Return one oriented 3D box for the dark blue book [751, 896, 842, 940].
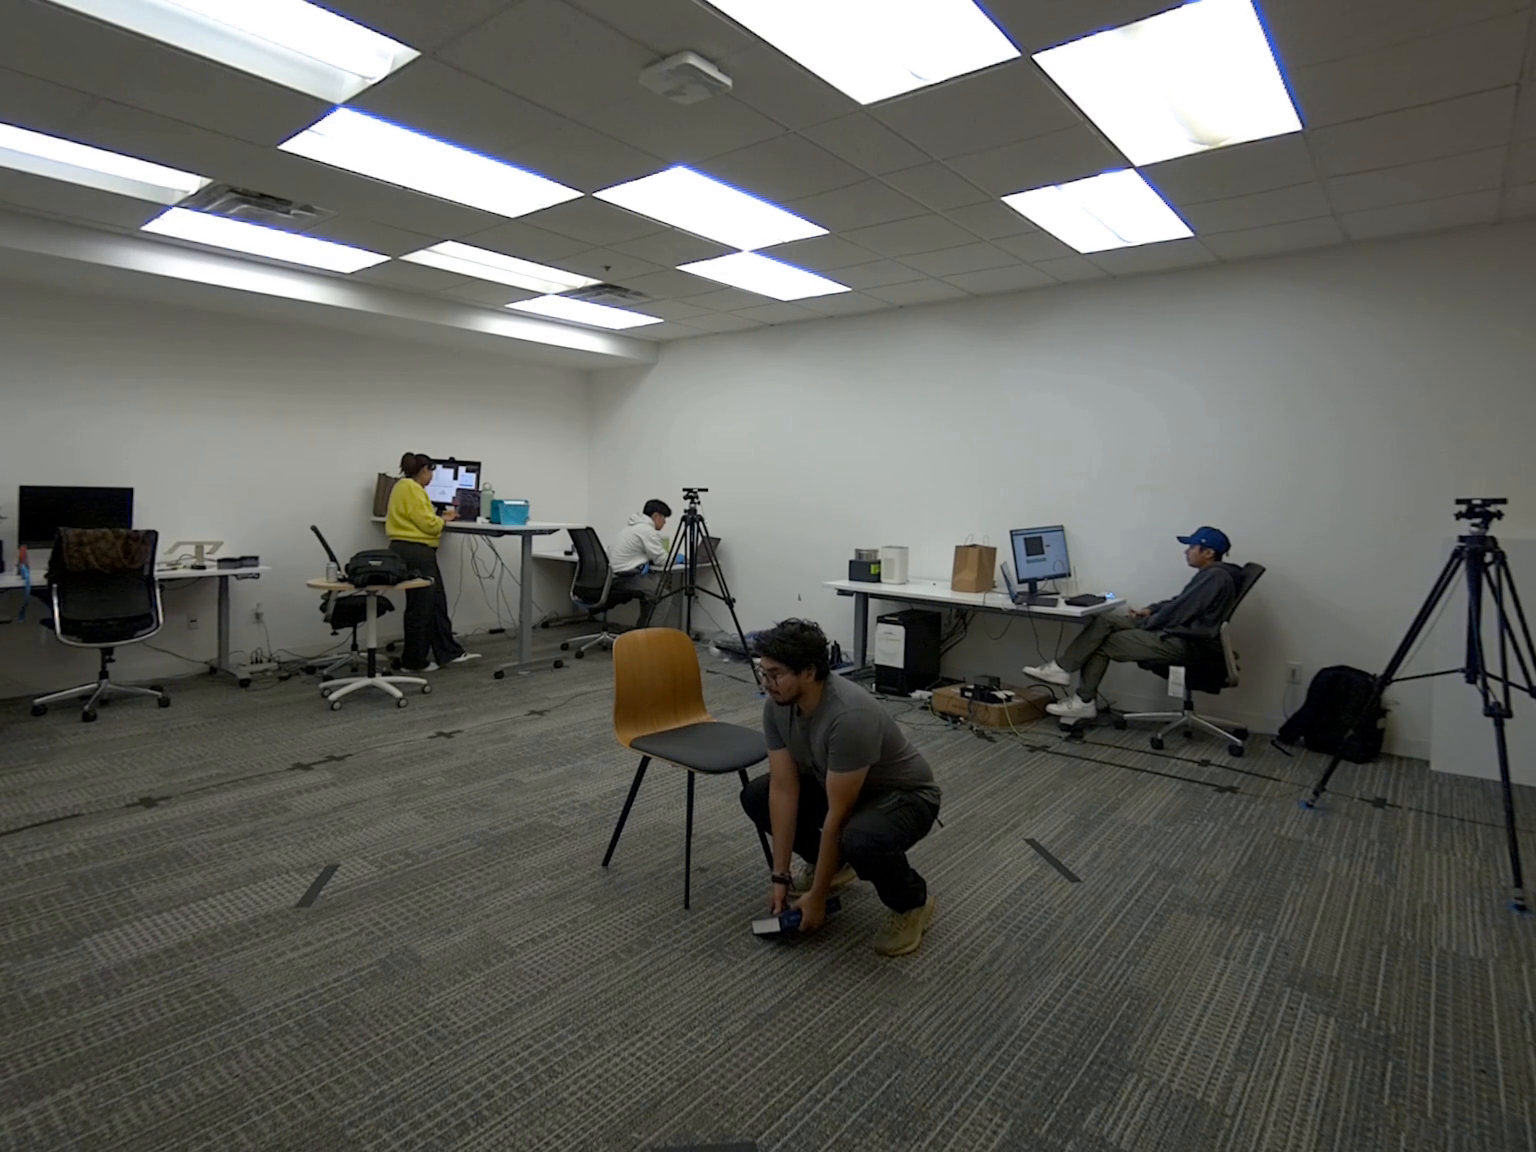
[{"bbox_3d":[0.079,1.067,2.668,0.238,0.046,0.164,-6,-21,-36],"label":"dark blue book"}]
